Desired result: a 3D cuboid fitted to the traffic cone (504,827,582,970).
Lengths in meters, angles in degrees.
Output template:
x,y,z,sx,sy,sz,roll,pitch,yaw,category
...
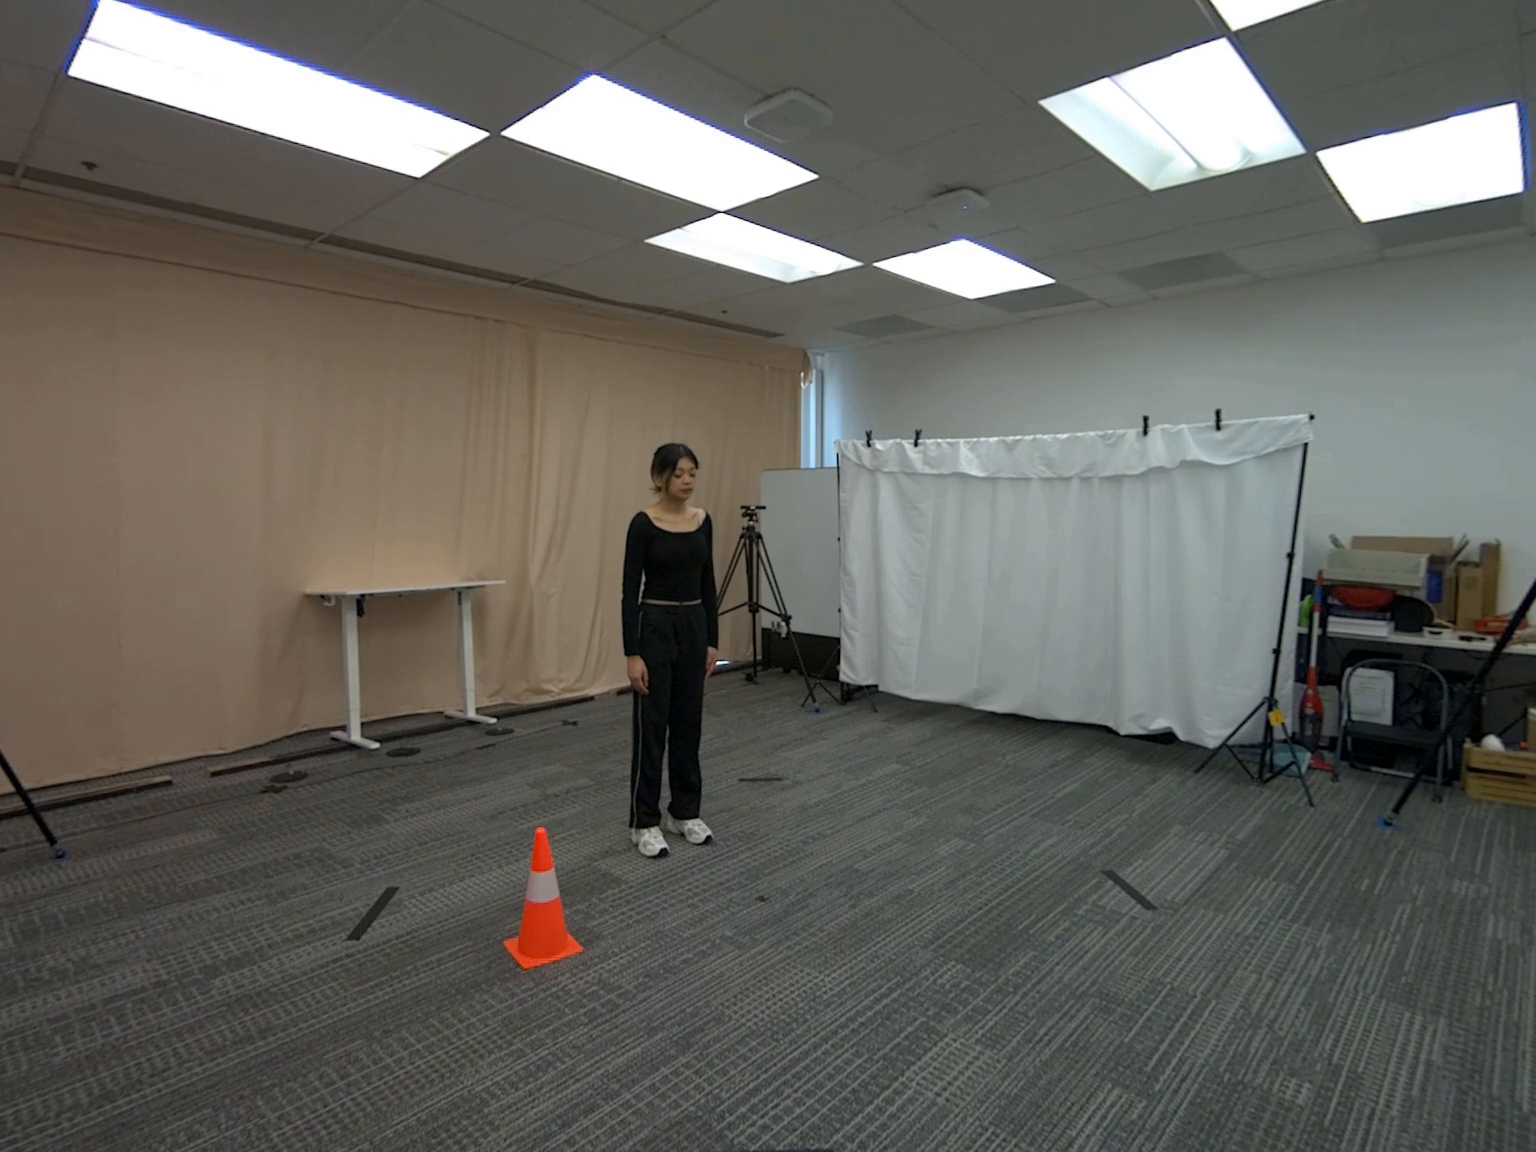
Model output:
x,y,z,sx,sy,sz,roll,pitch,yaw,category
-0.723,0.995,2.653,0.200,0.382,0.209,-4,5,-30,traffic cone
